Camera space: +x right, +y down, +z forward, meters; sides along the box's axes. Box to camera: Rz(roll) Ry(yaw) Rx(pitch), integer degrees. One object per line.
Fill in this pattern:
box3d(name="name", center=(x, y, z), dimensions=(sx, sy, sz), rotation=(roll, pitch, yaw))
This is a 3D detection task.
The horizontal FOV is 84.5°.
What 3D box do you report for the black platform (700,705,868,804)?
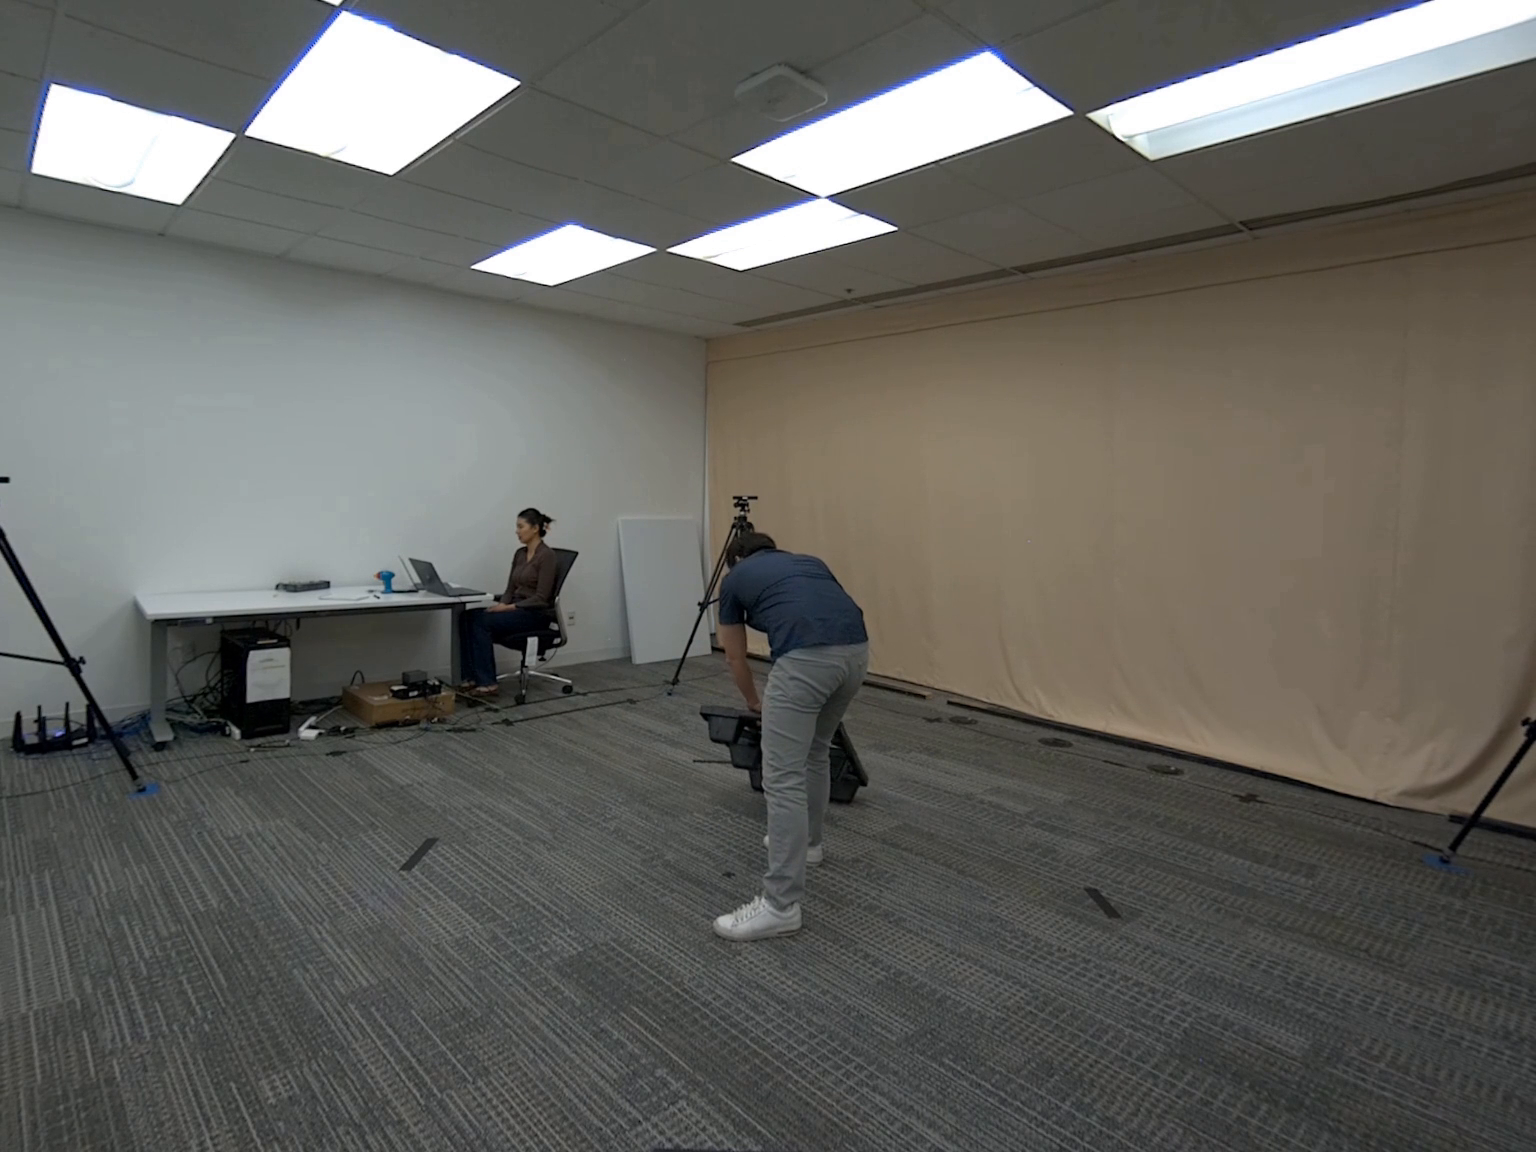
box3d(name="black platform", center=(0.067, 0.797, 3.689), dimensions=(0.614, 0.145, 0.782), rotation=(2, -30, 19))
